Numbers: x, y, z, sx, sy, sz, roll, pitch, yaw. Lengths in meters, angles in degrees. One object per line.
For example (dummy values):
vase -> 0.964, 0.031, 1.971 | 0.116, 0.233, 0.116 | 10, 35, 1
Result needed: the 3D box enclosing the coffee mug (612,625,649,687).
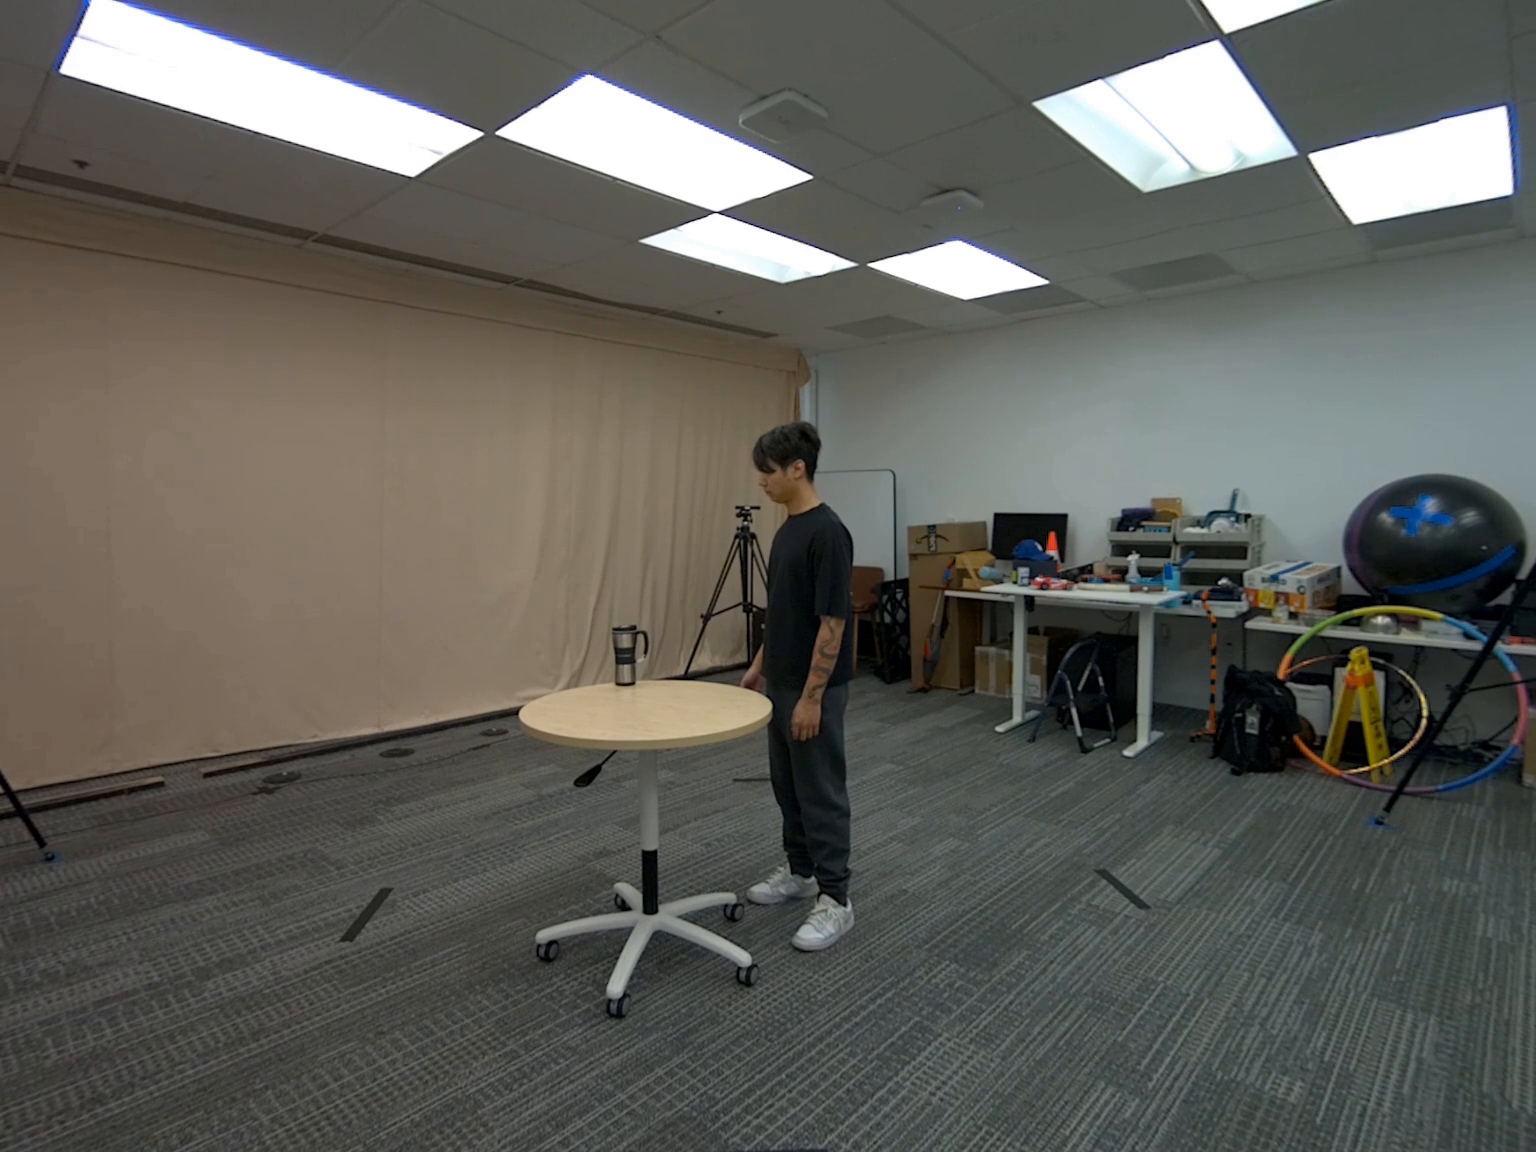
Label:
coffee mug -> -0.475, 0.276, 2.885 | 0.126, 0.203, 0.085 | -2, -2, 39
